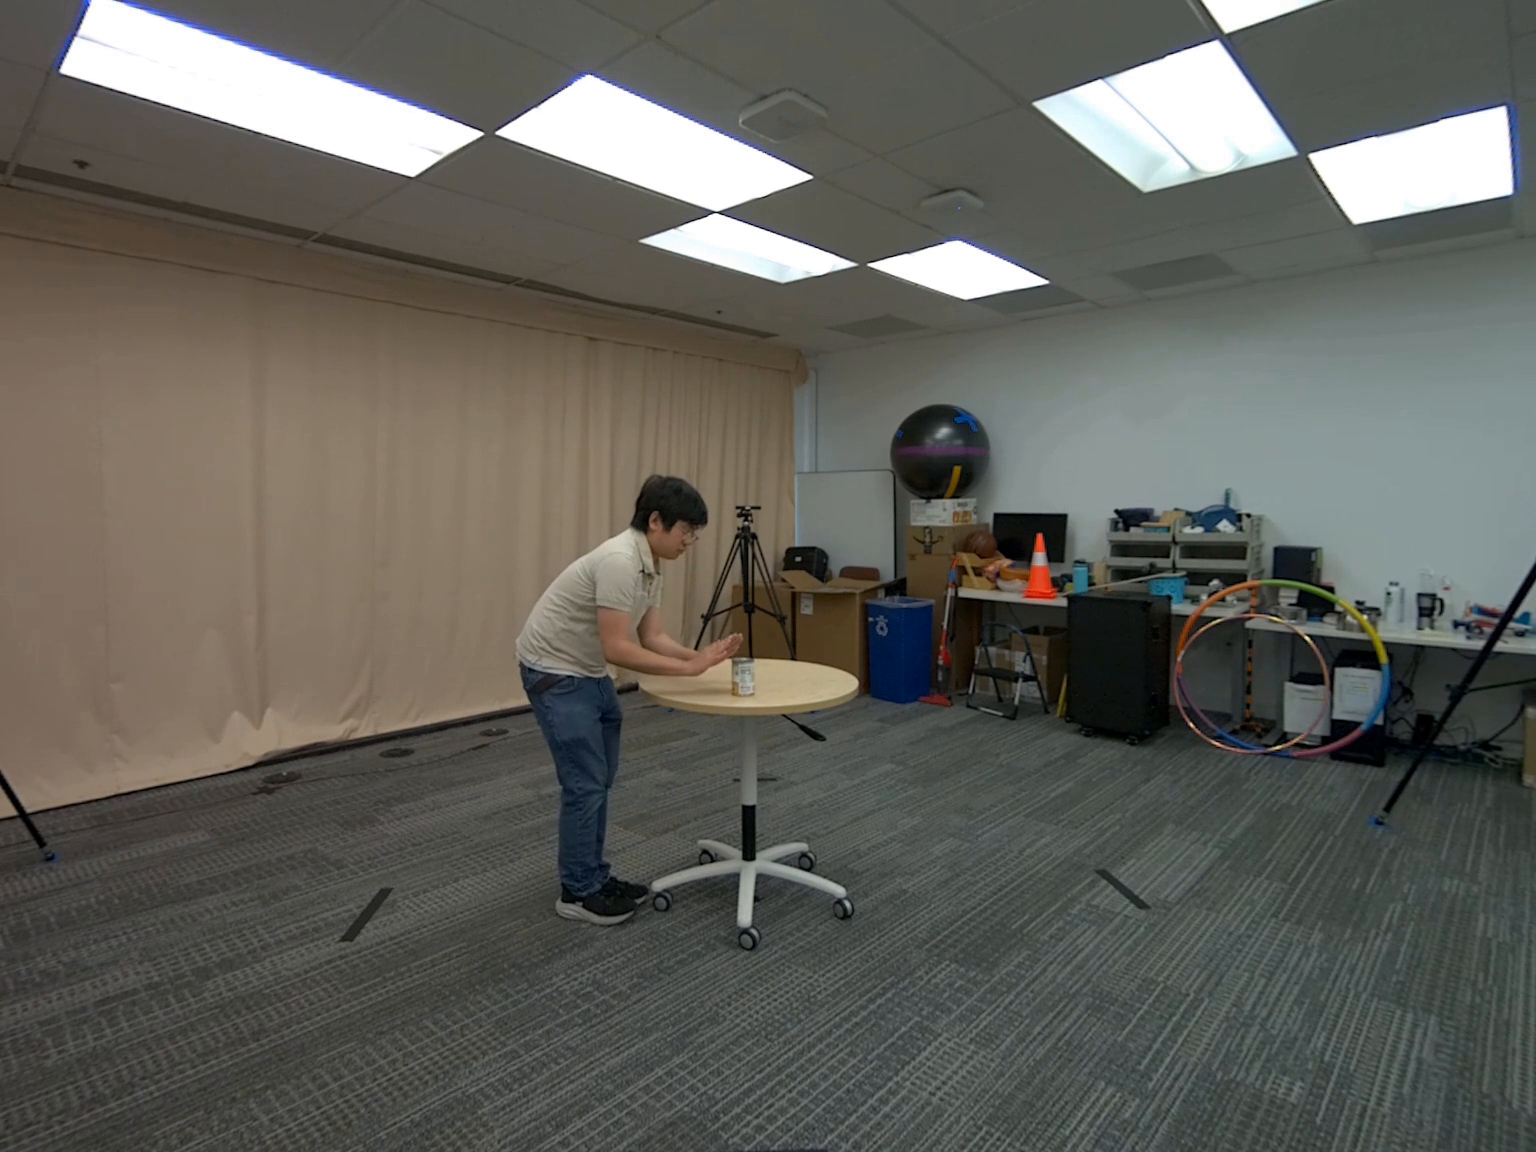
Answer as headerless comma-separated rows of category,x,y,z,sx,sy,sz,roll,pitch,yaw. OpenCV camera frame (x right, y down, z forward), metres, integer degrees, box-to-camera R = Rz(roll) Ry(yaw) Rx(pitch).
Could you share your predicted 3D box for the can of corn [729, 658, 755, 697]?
can of corn,-0.087,0.334,2.720,0.074,0.111,0.074,-3,4,-2
